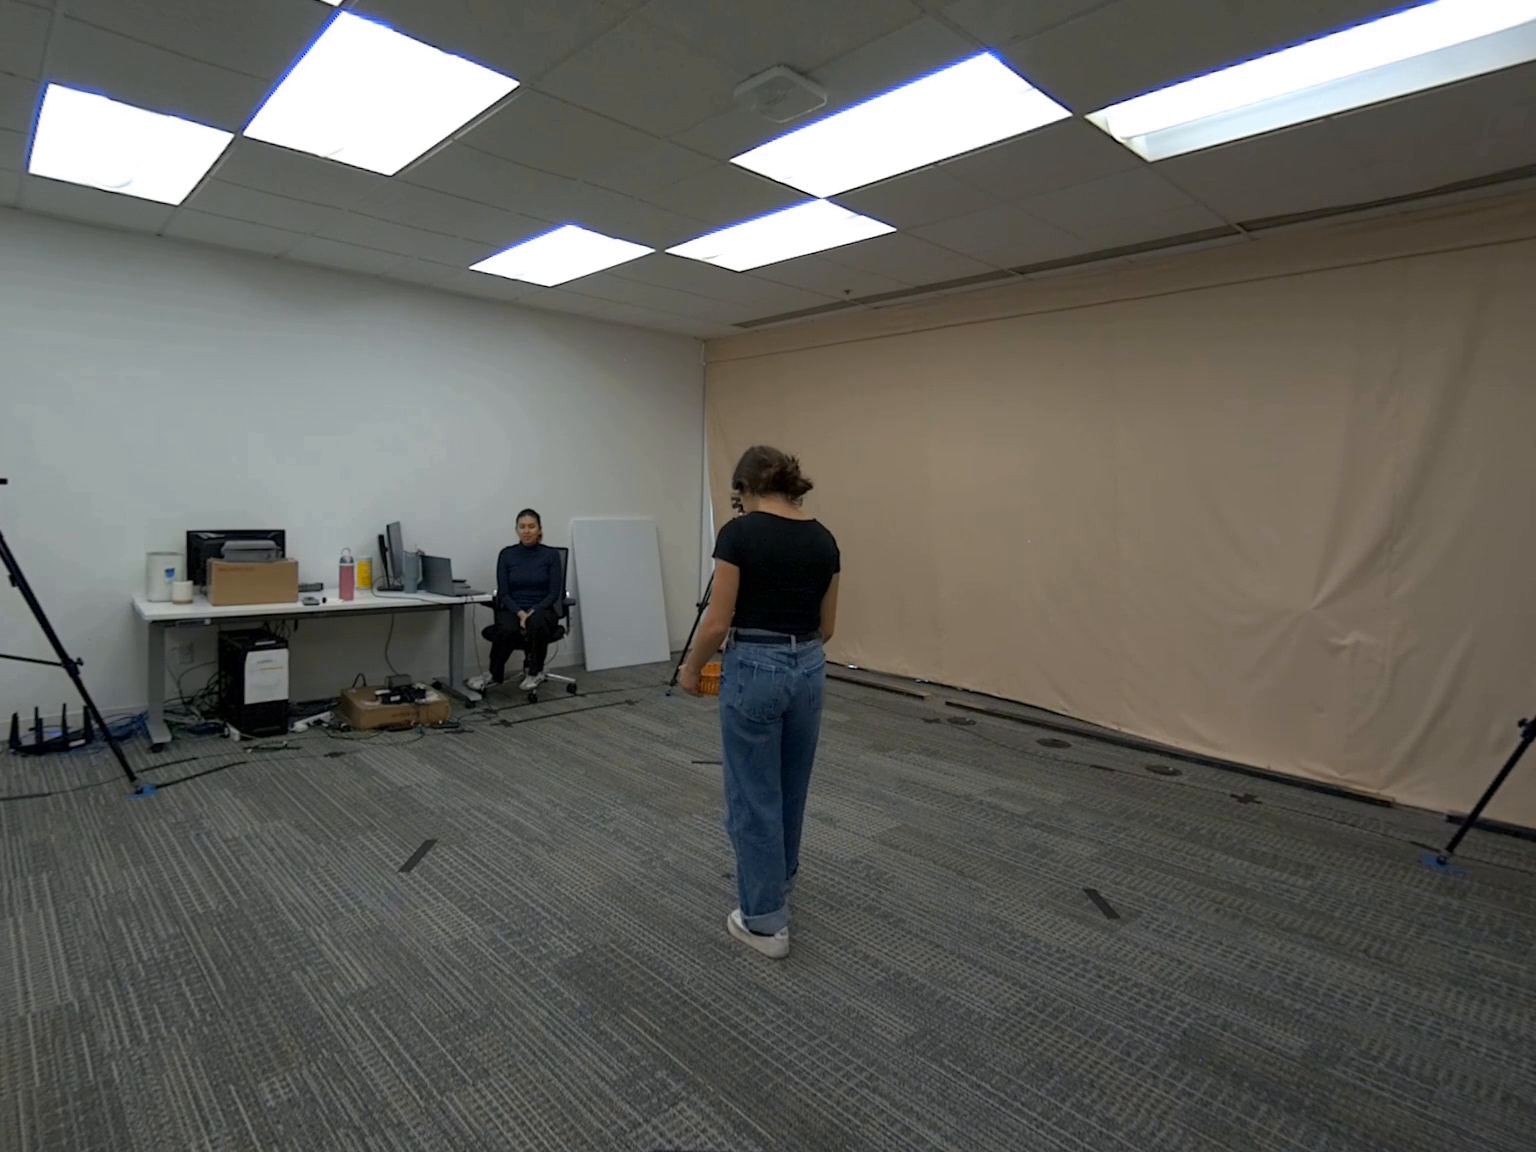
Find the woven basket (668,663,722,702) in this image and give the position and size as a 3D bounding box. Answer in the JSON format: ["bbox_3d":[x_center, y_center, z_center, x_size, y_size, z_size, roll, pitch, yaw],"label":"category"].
[{"bbox_3d":[-0.118,0.344,2.815,0.343,0.073,0.258,0,2,-32],"label":"woven basket"}]
